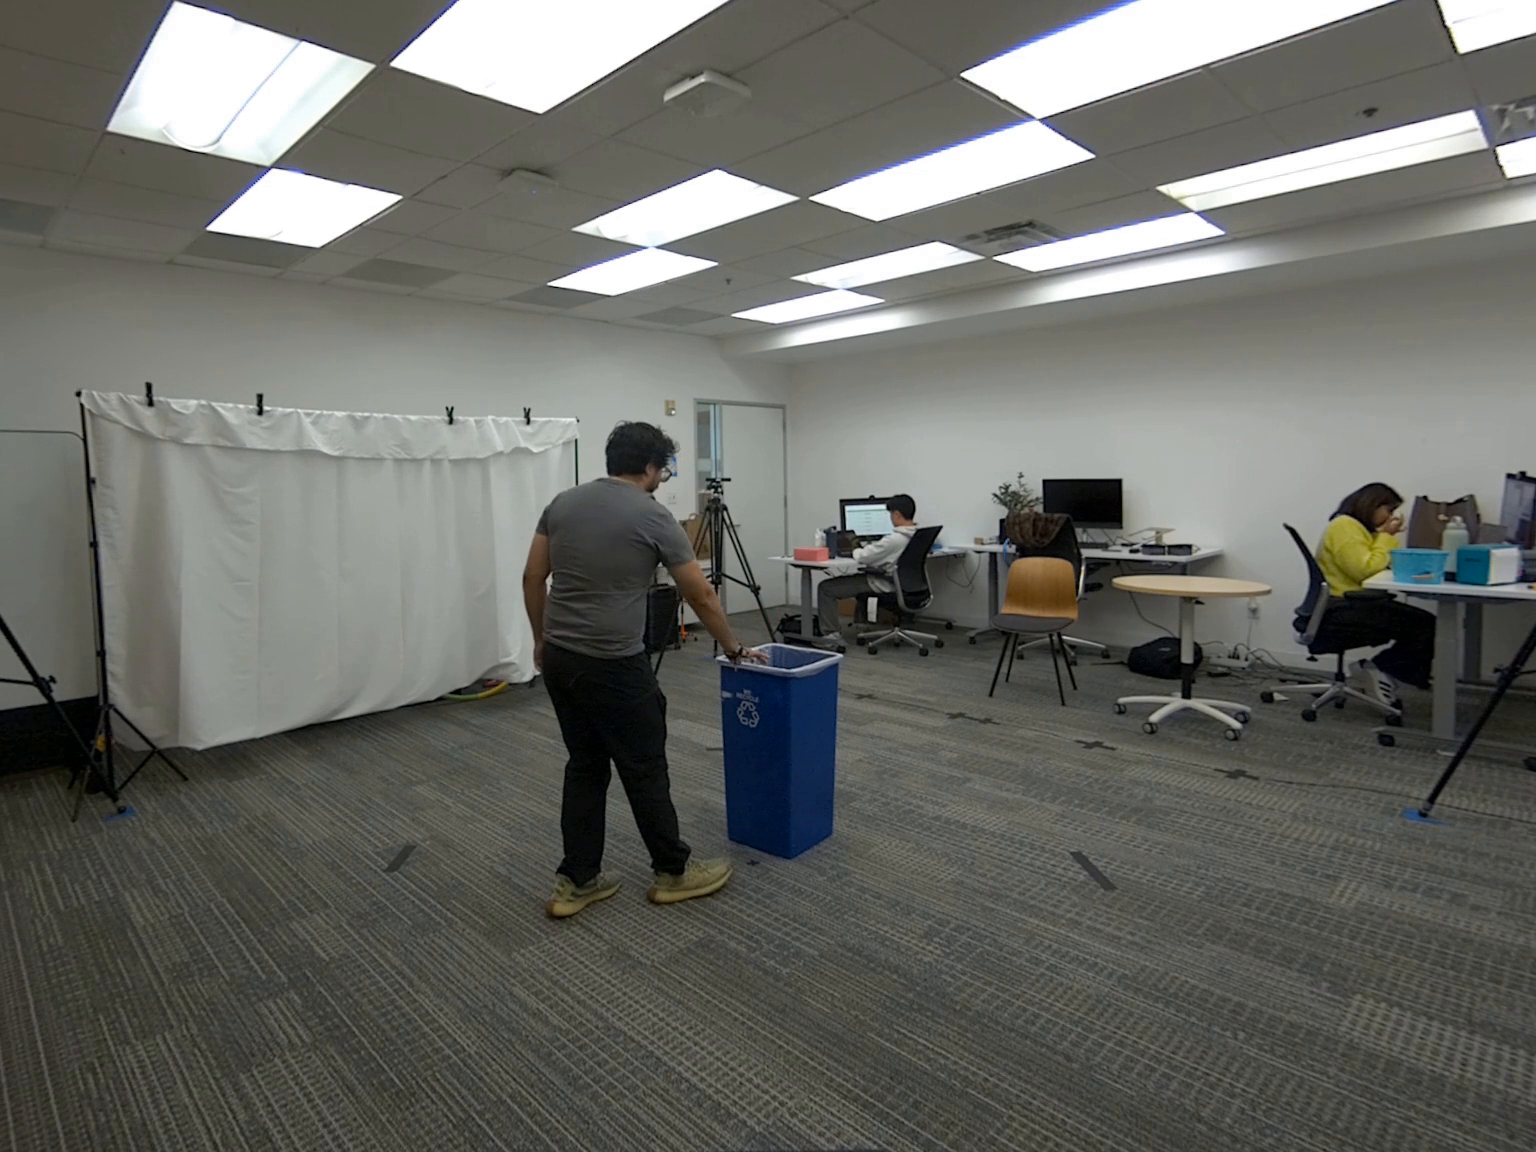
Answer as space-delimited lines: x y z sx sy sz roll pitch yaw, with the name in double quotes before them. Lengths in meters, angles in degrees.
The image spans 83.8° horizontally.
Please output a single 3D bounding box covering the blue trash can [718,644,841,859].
"blue trash can" 0.056 0.660 3.303 0.385 0.711 0.368 3 6 39
